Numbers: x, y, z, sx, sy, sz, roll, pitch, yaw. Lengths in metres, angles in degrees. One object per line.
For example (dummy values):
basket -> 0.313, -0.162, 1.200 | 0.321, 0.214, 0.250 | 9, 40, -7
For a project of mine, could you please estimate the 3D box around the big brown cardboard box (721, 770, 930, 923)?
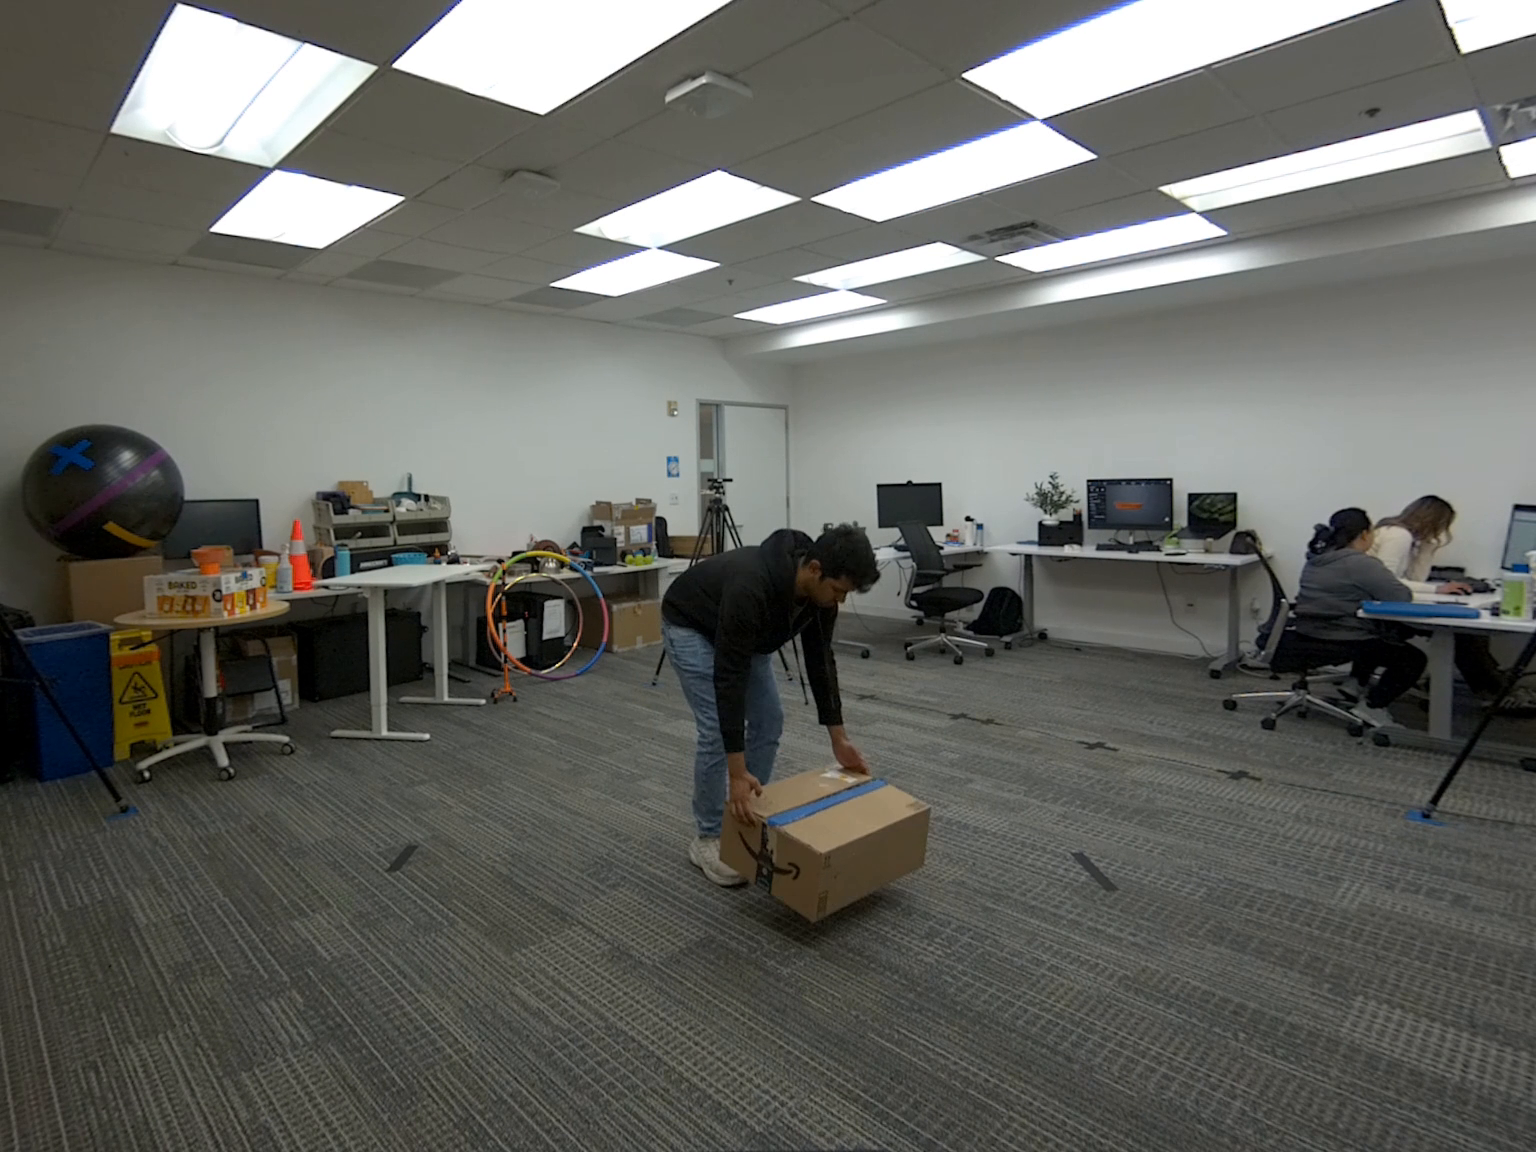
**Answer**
big brown cardboard box -> 0.186, 0.824, 2.802 | 0.573, 0.231, 0.432 | -5, 14, -45
